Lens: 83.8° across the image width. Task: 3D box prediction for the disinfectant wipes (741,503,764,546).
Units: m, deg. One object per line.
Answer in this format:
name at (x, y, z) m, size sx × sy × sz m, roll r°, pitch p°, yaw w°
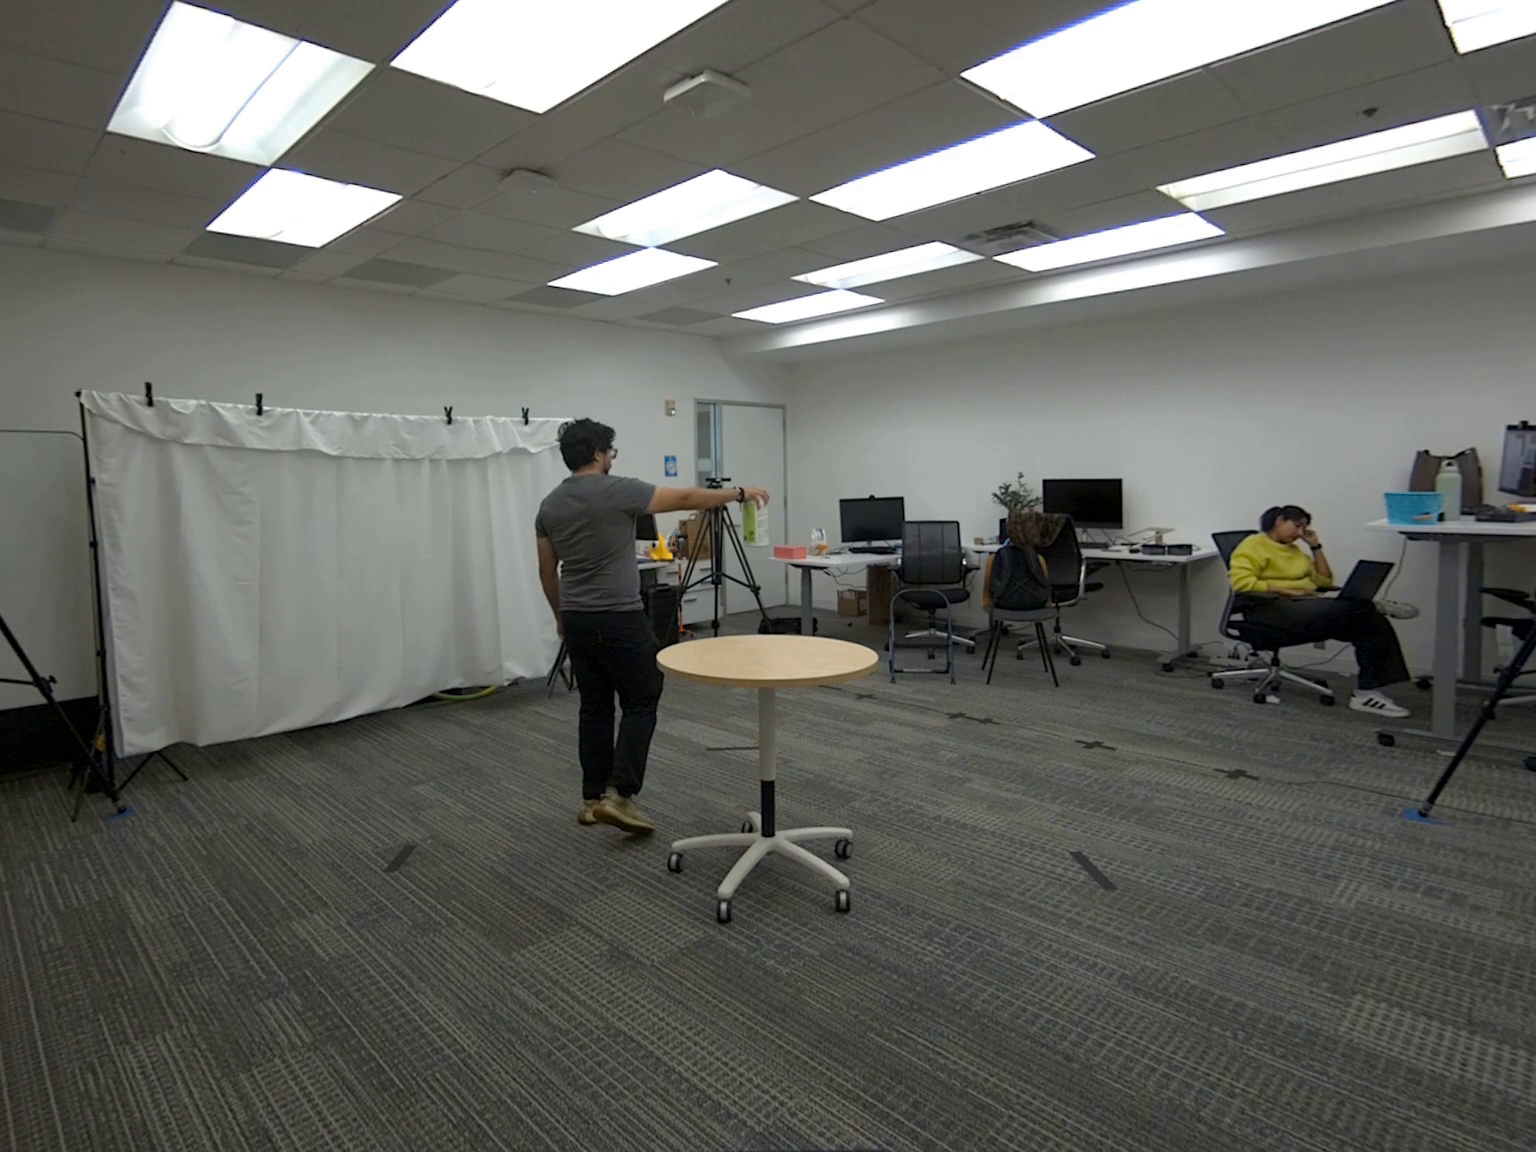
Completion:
disinfectant wipes at (-0.056, -0.231, 3.682) m, size 0.118 × 0.216 × 0.119 m, roll 0°, pitch 8°, yaw -2°
